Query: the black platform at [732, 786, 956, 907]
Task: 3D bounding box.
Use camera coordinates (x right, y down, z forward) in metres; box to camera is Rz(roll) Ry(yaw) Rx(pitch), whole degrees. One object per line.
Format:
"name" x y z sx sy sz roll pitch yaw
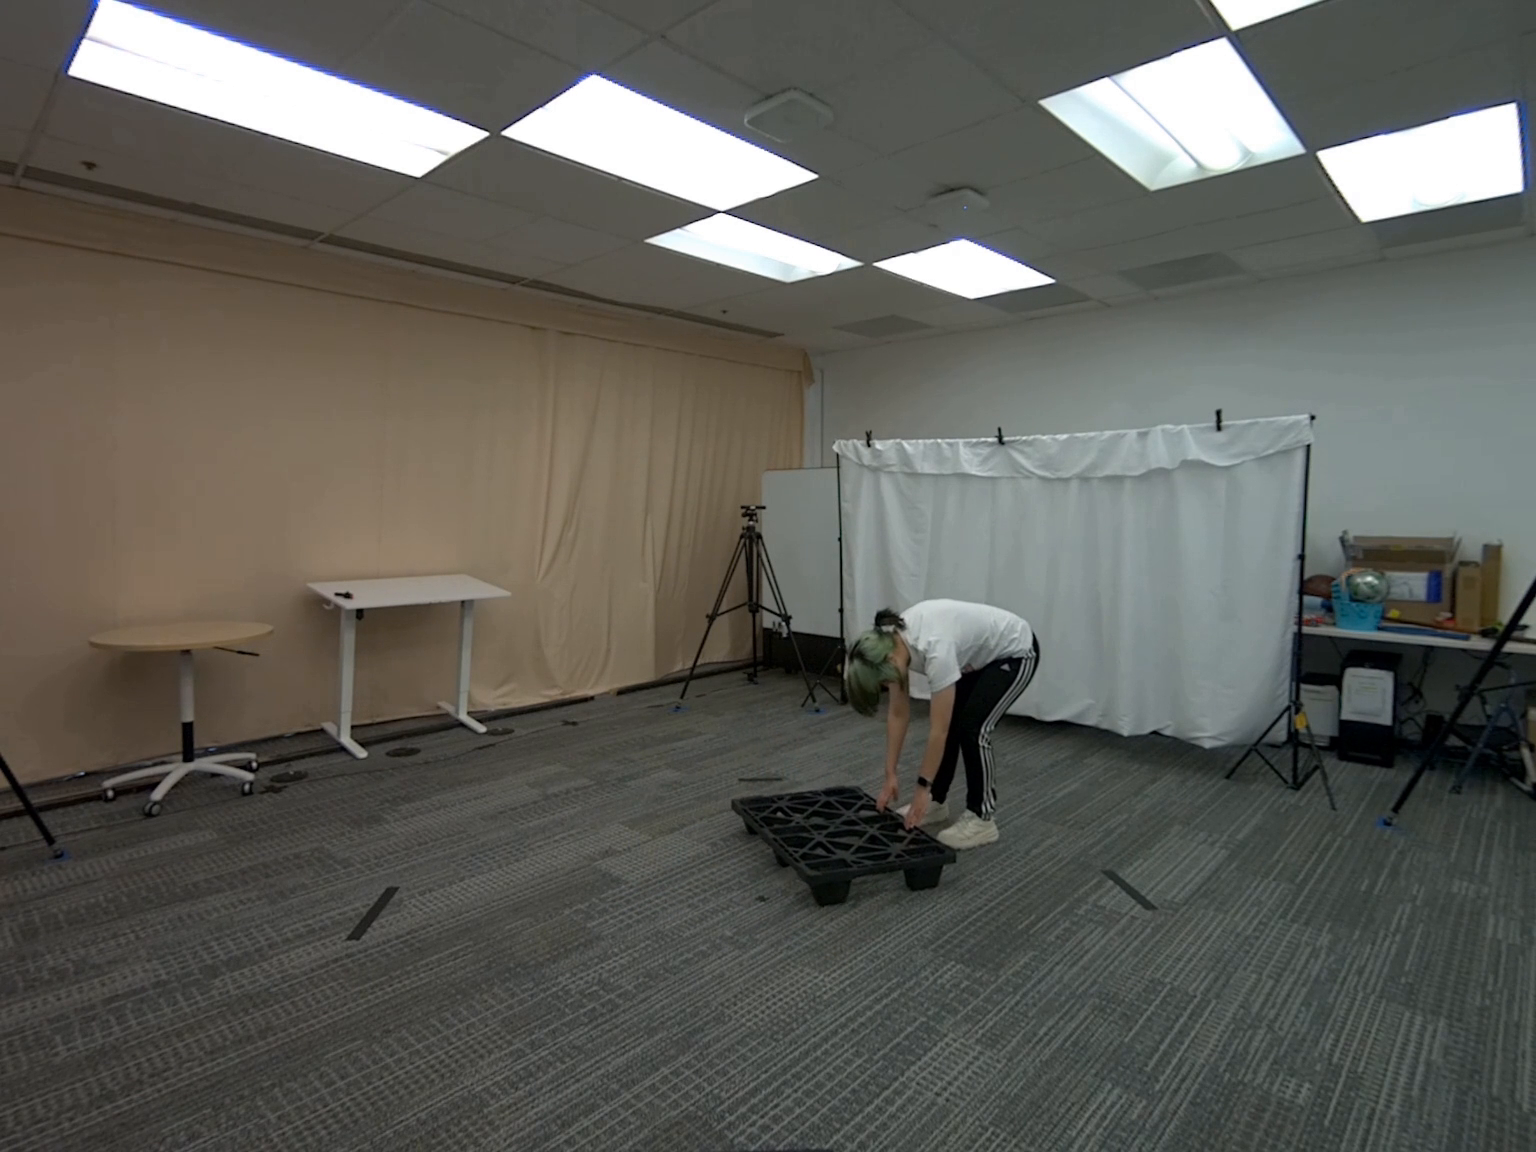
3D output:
"black platform" 0.268 1.045 3.331 0.593 0.143 0.824 -1 4 -21
